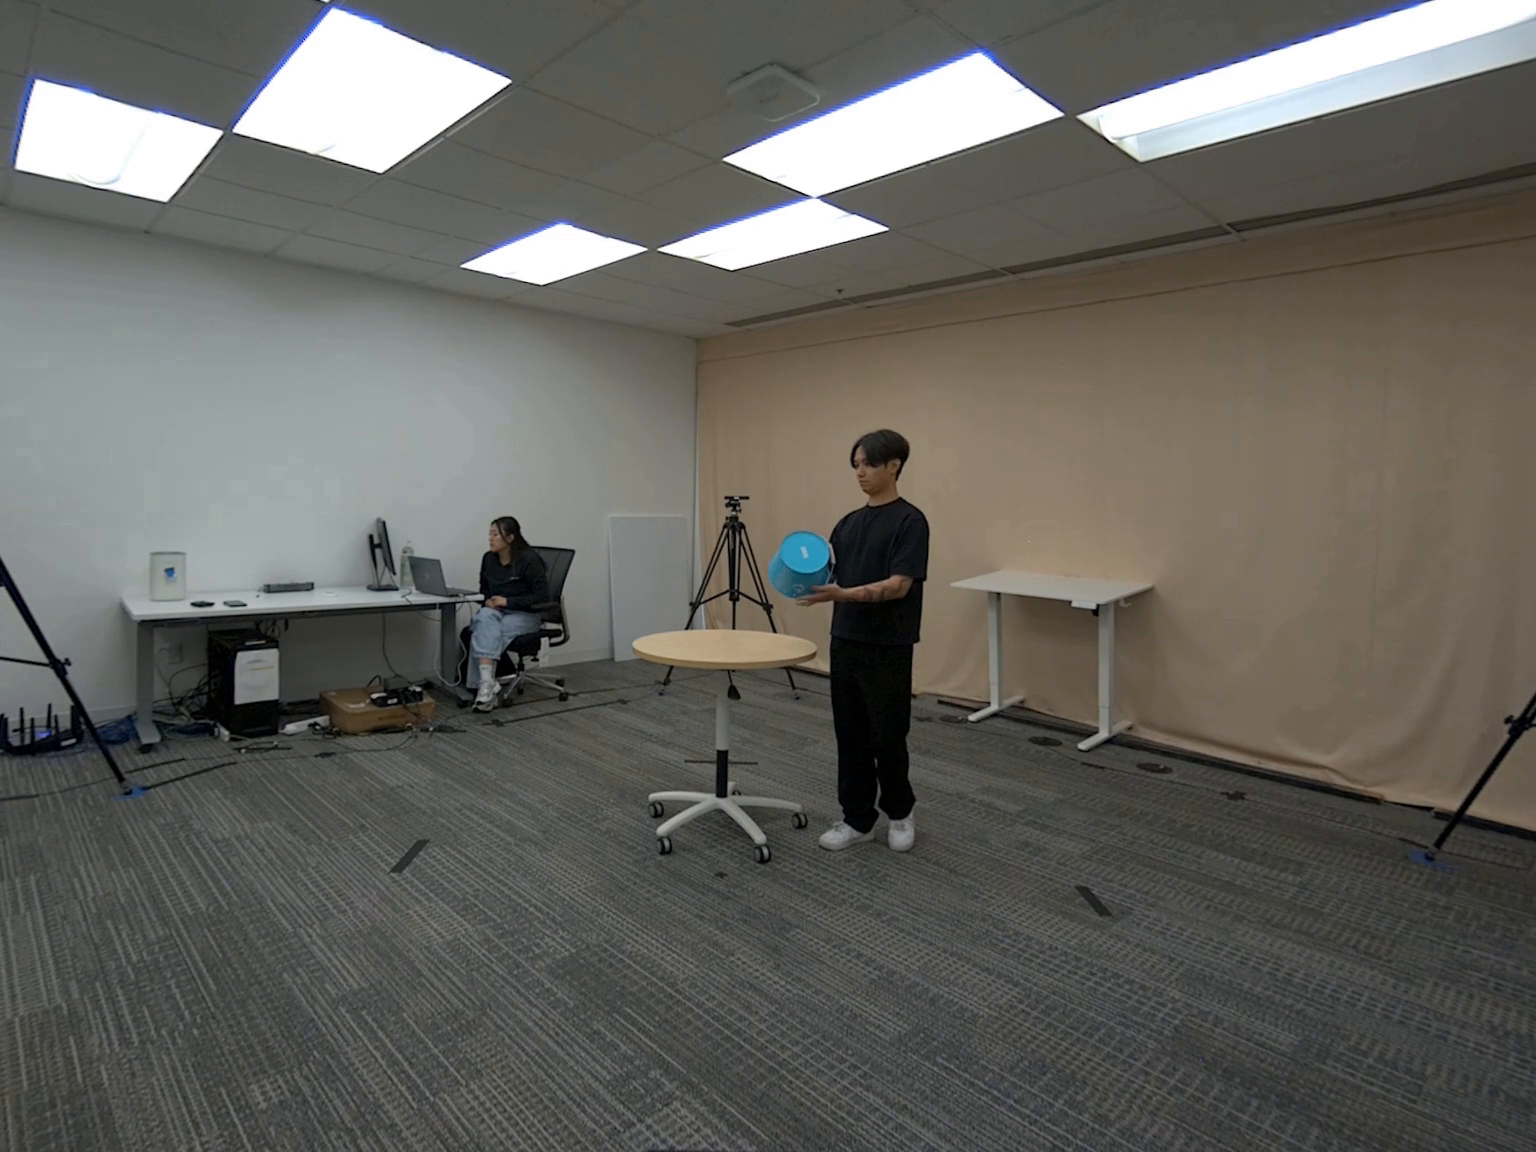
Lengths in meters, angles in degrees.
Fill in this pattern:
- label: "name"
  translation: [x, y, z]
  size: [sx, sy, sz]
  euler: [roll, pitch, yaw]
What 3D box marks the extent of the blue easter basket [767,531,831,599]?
- label: "blue easter basket"
  translation: [0.127, -0.054, 3.122]
  size: [0.243, 0.248, 0.153]
  euler: [1, -30, -4]
